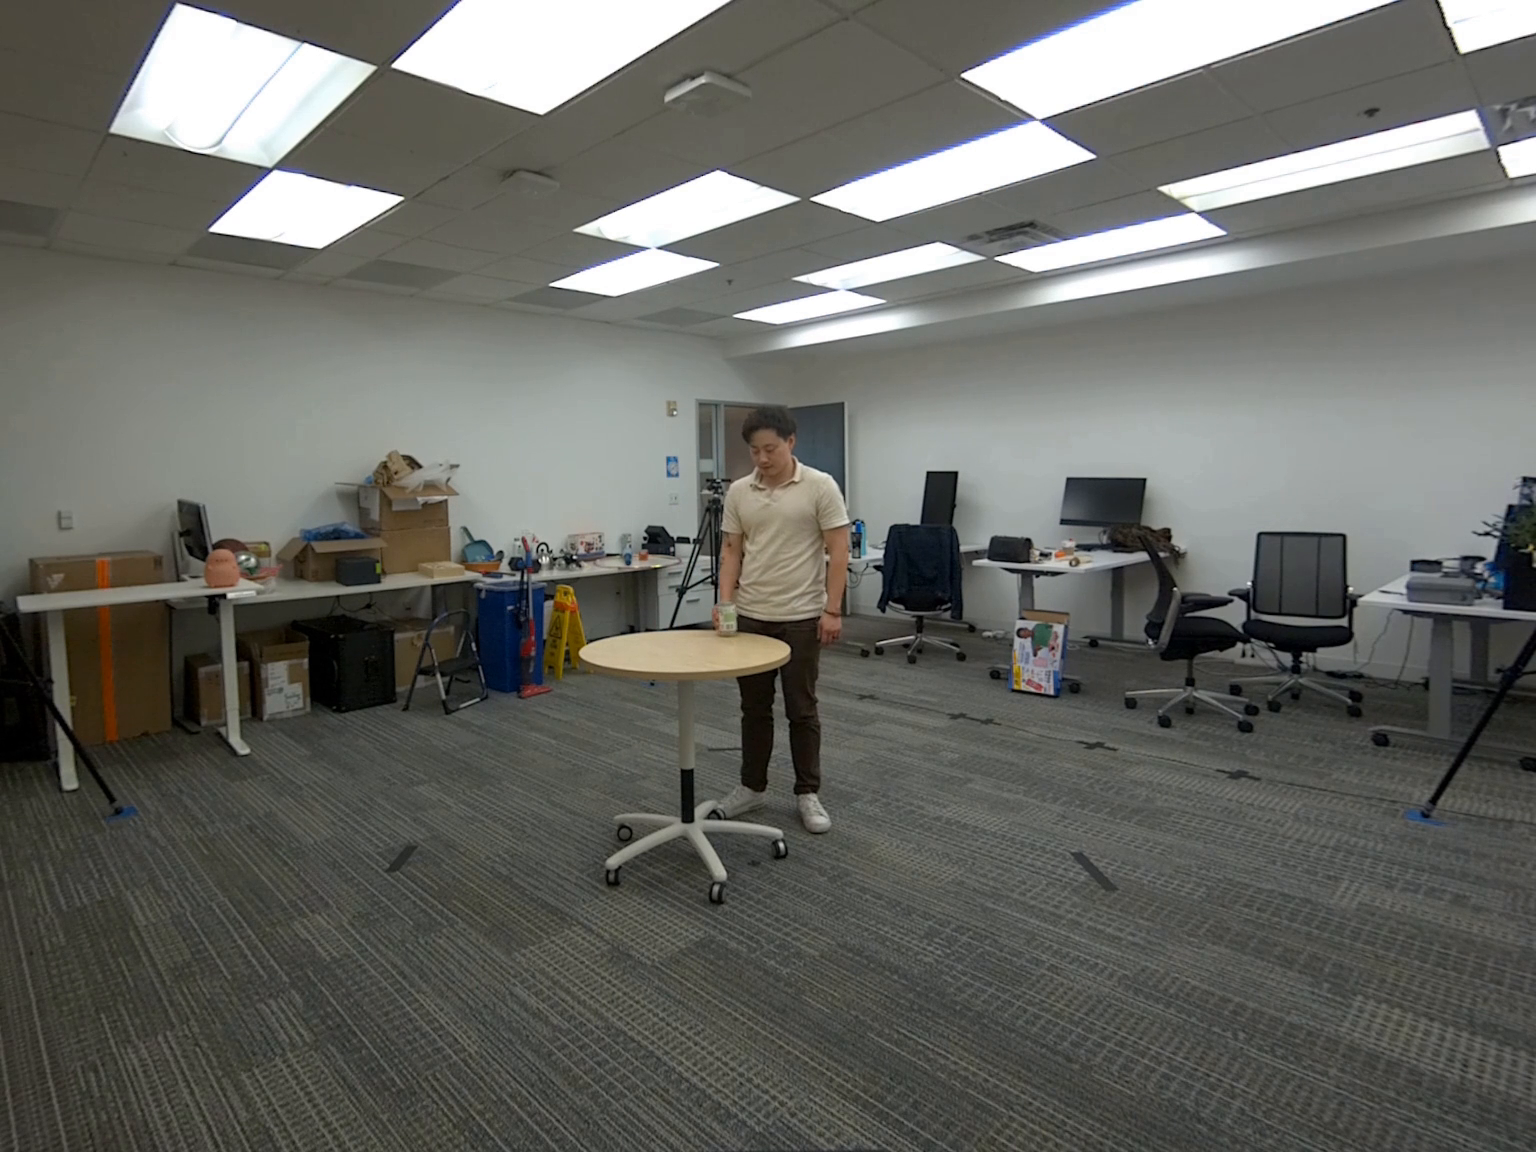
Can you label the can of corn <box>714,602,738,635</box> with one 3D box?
[{"bbox_3d":[-0.170,0.161,3.340,0.074,0.110,0.074,-4,5,-1],"label":"can of corn"}]
